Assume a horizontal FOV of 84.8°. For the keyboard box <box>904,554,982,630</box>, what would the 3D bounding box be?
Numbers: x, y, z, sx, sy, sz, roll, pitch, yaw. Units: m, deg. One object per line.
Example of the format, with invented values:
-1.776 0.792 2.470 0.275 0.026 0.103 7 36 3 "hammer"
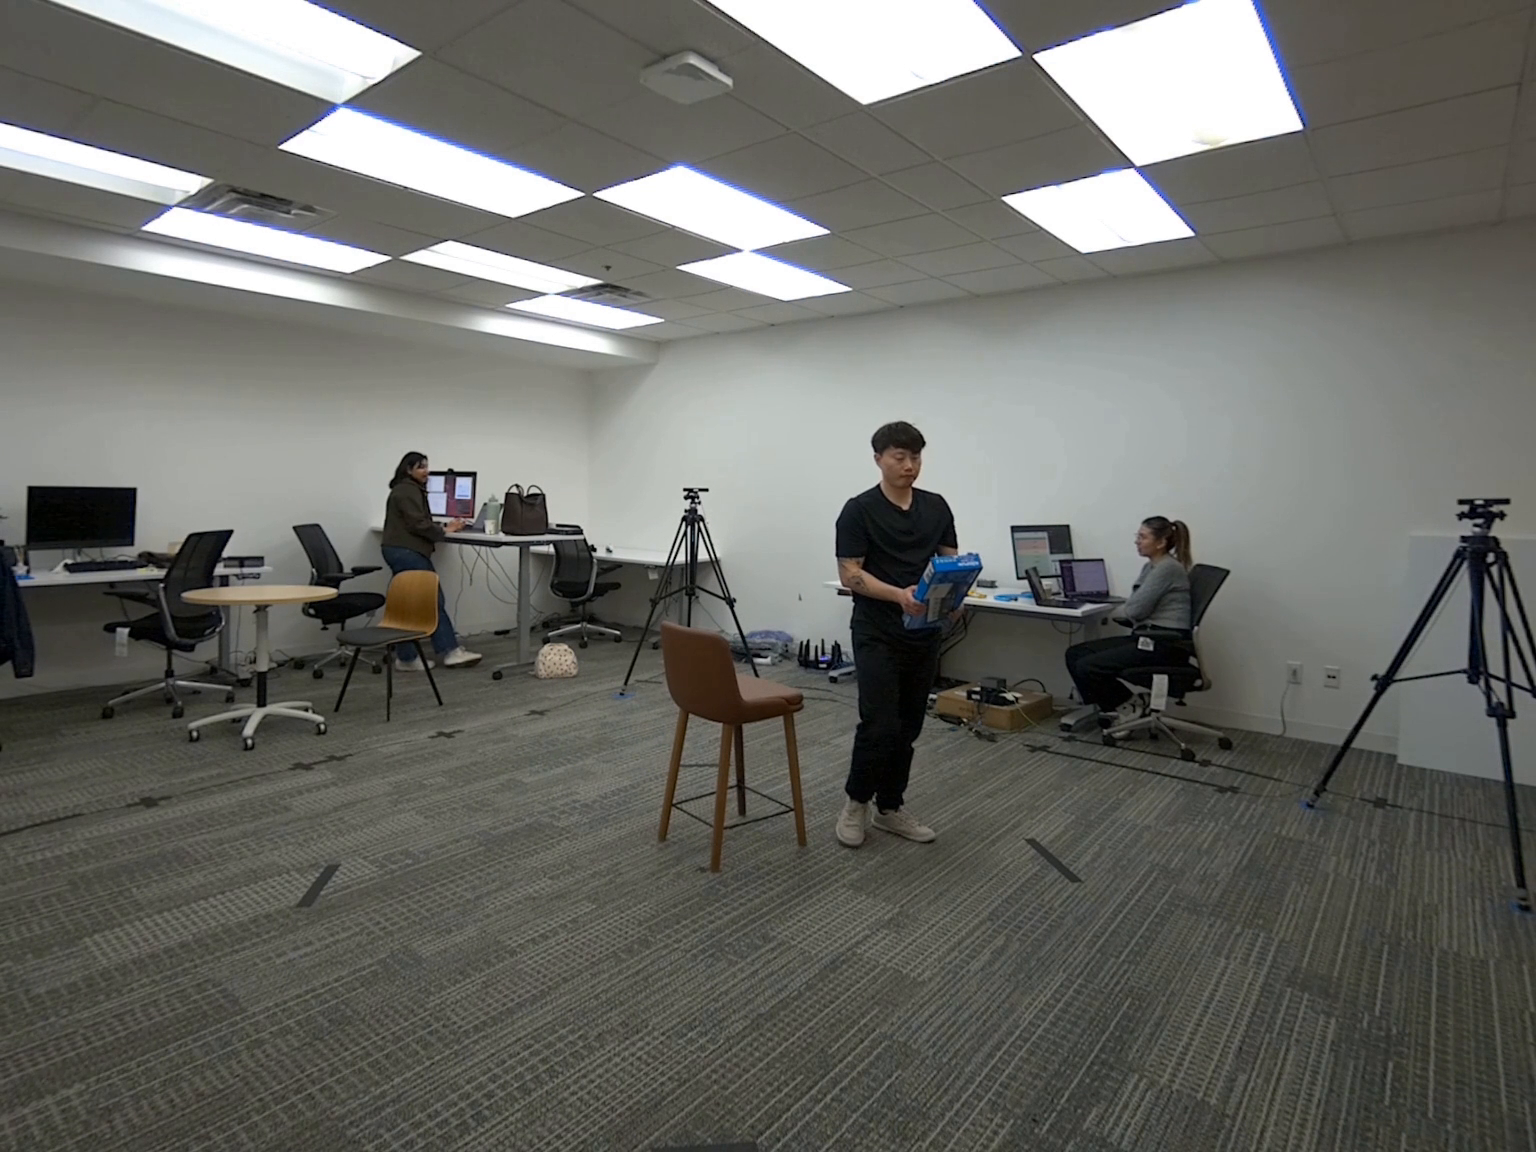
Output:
0.613 0.057 3.086 0.175 0.061 0.427 -2 -31 -7 "keyboard box"
